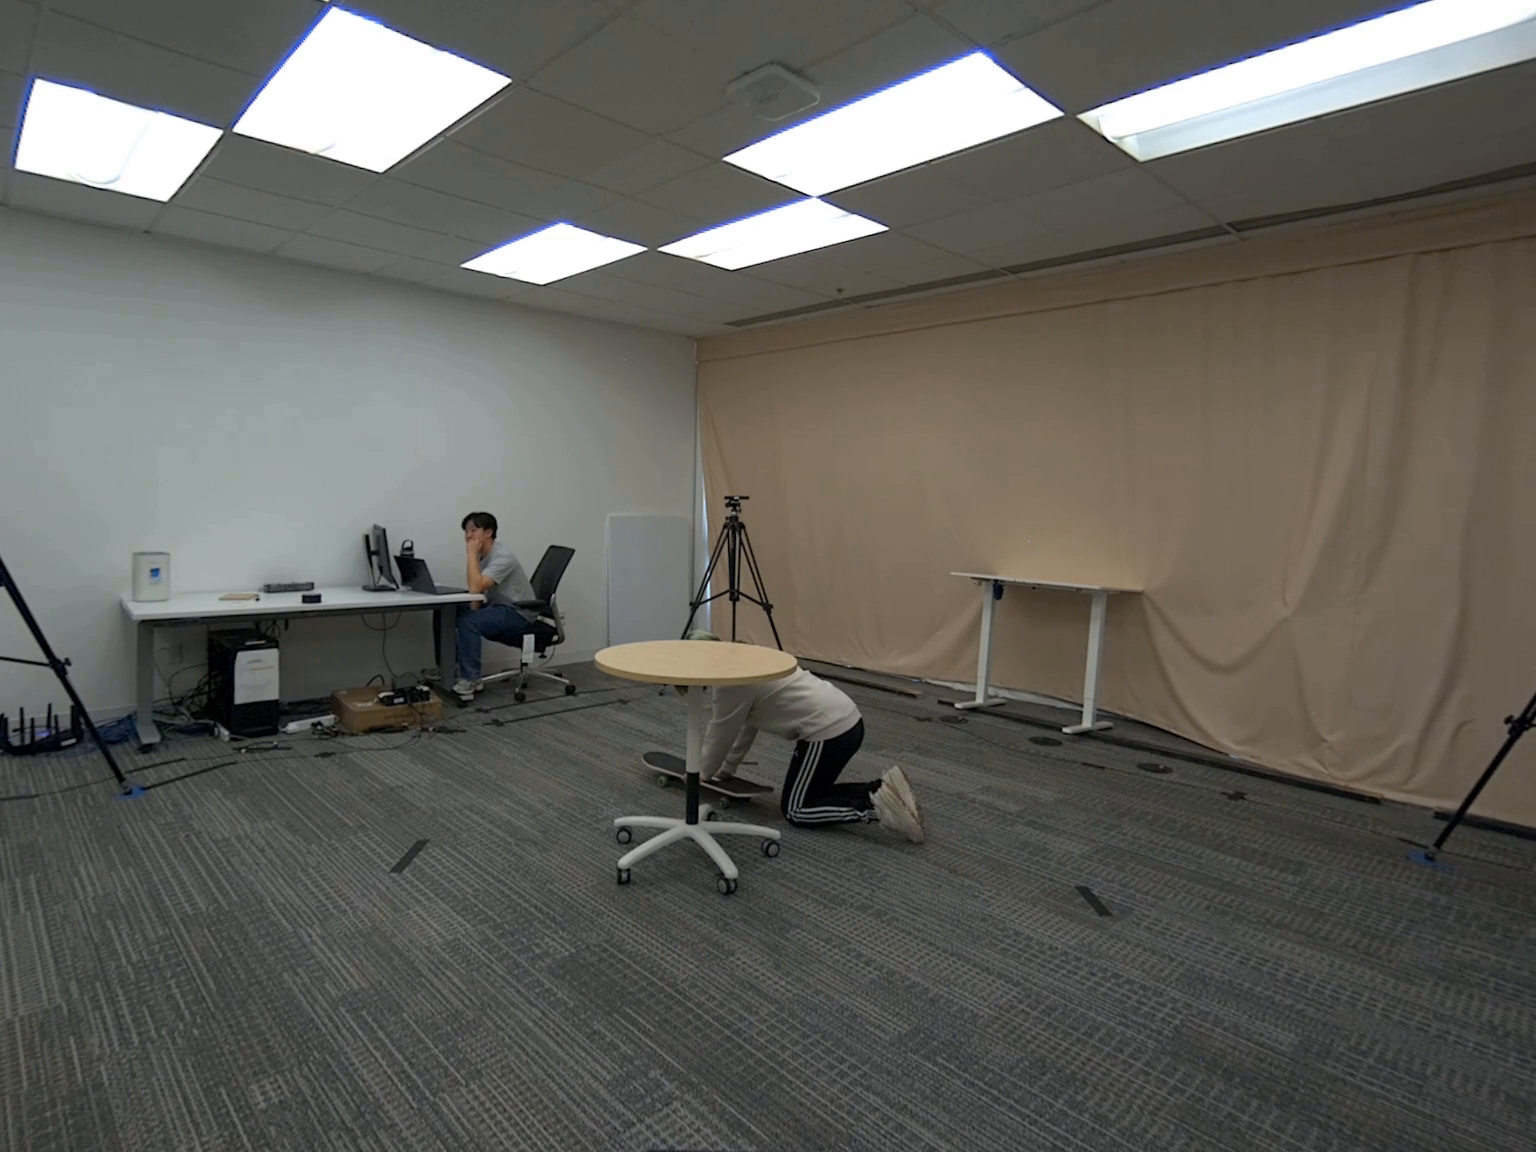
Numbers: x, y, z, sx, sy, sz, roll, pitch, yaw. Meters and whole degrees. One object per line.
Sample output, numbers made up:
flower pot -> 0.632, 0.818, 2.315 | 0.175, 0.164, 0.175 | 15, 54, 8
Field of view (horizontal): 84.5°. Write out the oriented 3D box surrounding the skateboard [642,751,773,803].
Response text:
skateboard -> -0.306, 0.966, 3.972 | 0.806, 0.110, 0.189 | 6, 5, 41
